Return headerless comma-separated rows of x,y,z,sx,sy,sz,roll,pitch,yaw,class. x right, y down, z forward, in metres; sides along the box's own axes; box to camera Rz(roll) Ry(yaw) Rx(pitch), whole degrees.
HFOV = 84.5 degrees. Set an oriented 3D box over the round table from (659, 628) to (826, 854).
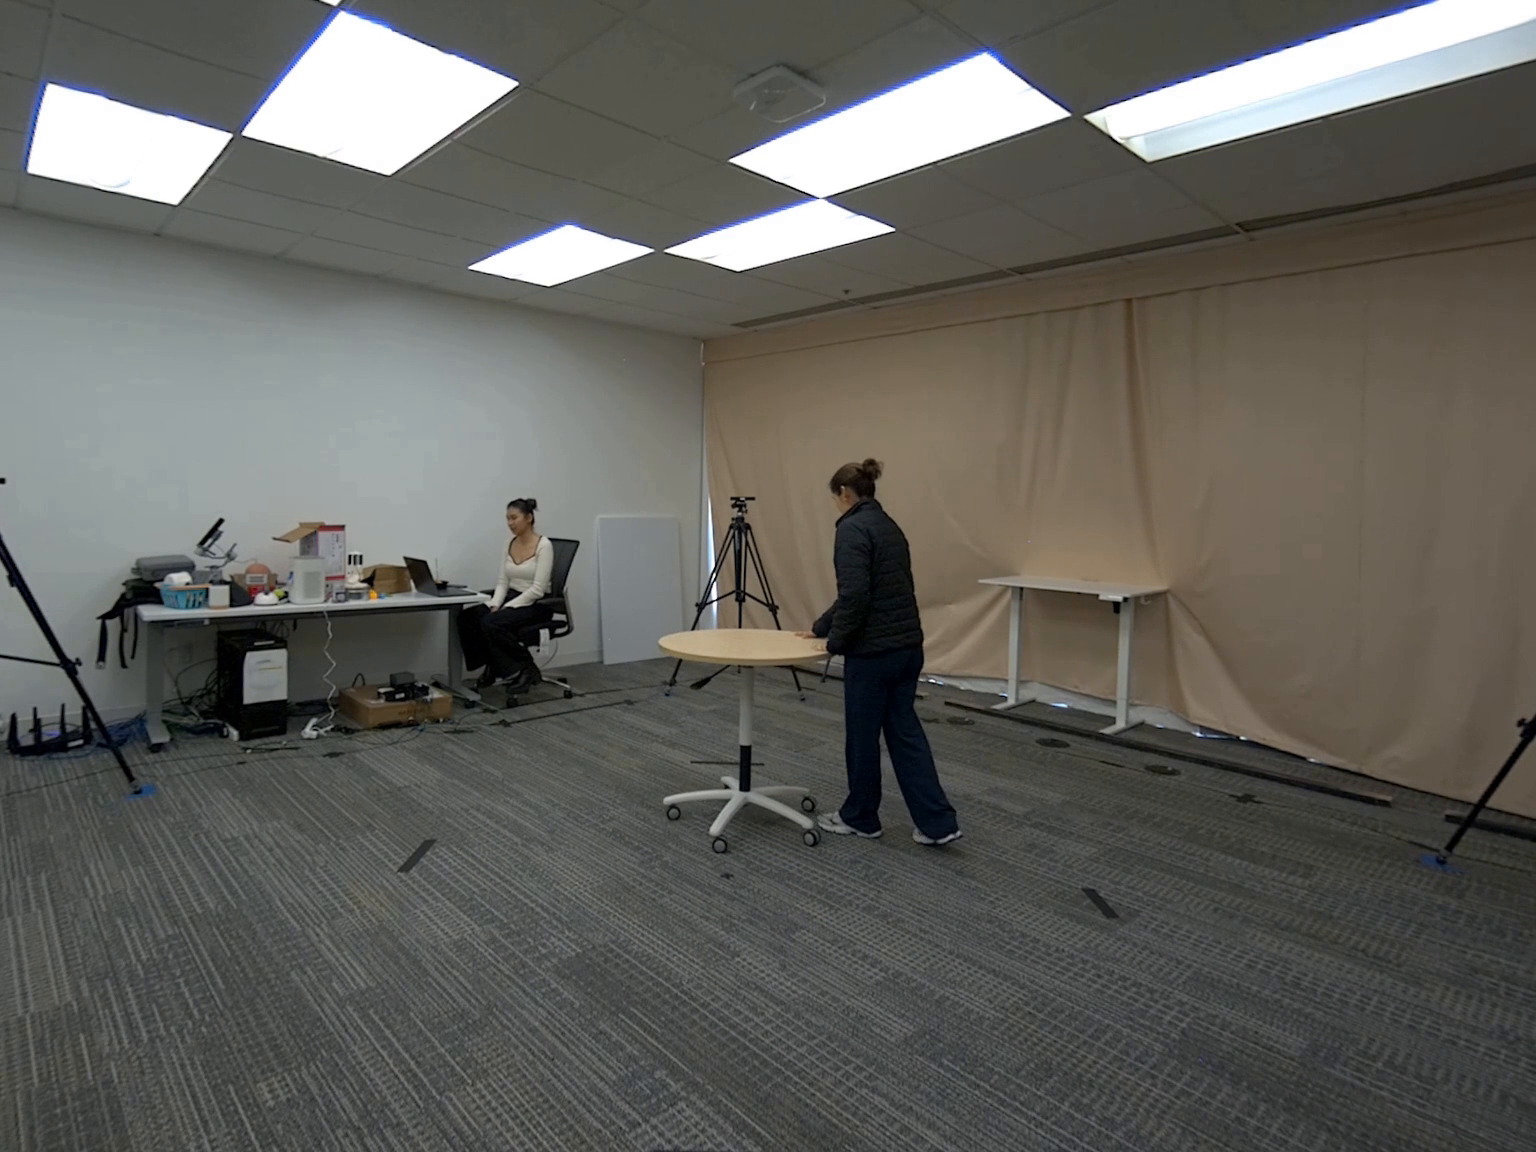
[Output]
-0.084,0.668,3.610,0.784,0.785,0.787,1,4,-1,round table
